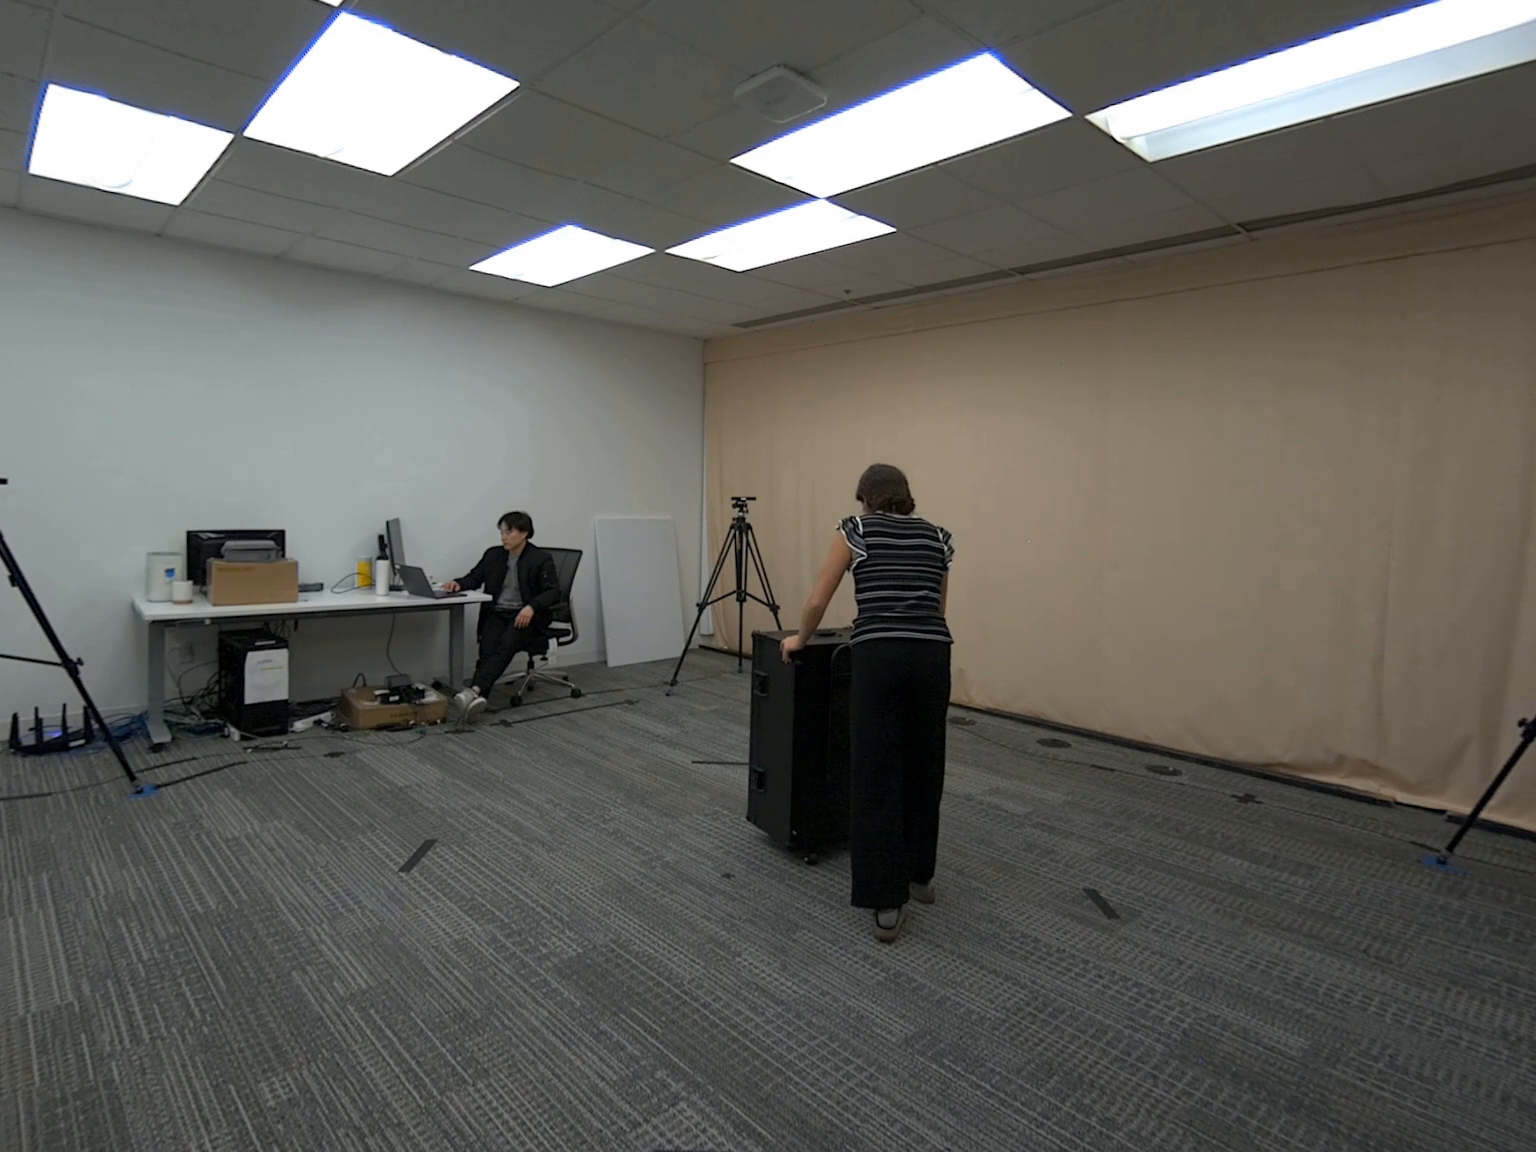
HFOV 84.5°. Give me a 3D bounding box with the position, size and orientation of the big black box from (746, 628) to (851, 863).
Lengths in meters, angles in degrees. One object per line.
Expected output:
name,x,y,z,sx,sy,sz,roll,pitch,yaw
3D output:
big black box,0.221,0.664,3.390,0.511,0.859,0.404,0,4,-27
